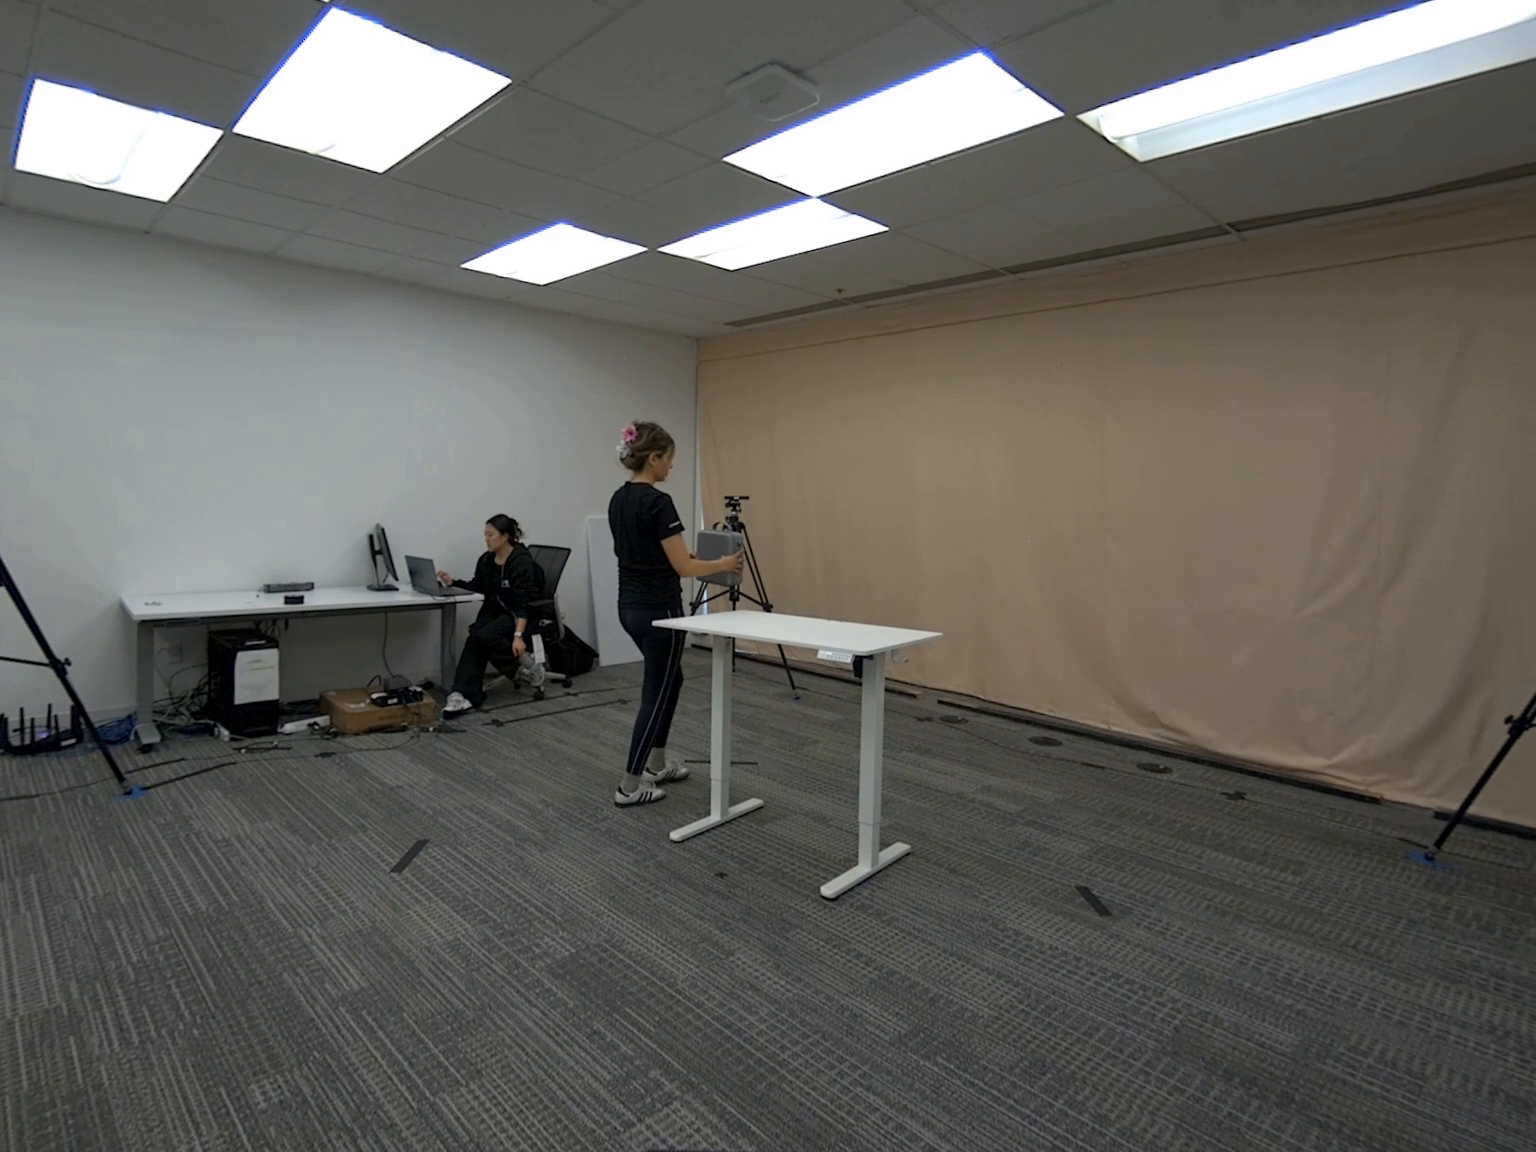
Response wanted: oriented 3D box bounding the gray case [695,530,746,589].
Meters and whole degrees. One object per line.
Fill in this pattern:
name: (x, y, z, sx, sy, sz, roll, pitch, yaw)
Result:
gray case: (-0.245, -0.095, 4.023, 0.102, 0.260, 0.264, -2, 7, -43)
